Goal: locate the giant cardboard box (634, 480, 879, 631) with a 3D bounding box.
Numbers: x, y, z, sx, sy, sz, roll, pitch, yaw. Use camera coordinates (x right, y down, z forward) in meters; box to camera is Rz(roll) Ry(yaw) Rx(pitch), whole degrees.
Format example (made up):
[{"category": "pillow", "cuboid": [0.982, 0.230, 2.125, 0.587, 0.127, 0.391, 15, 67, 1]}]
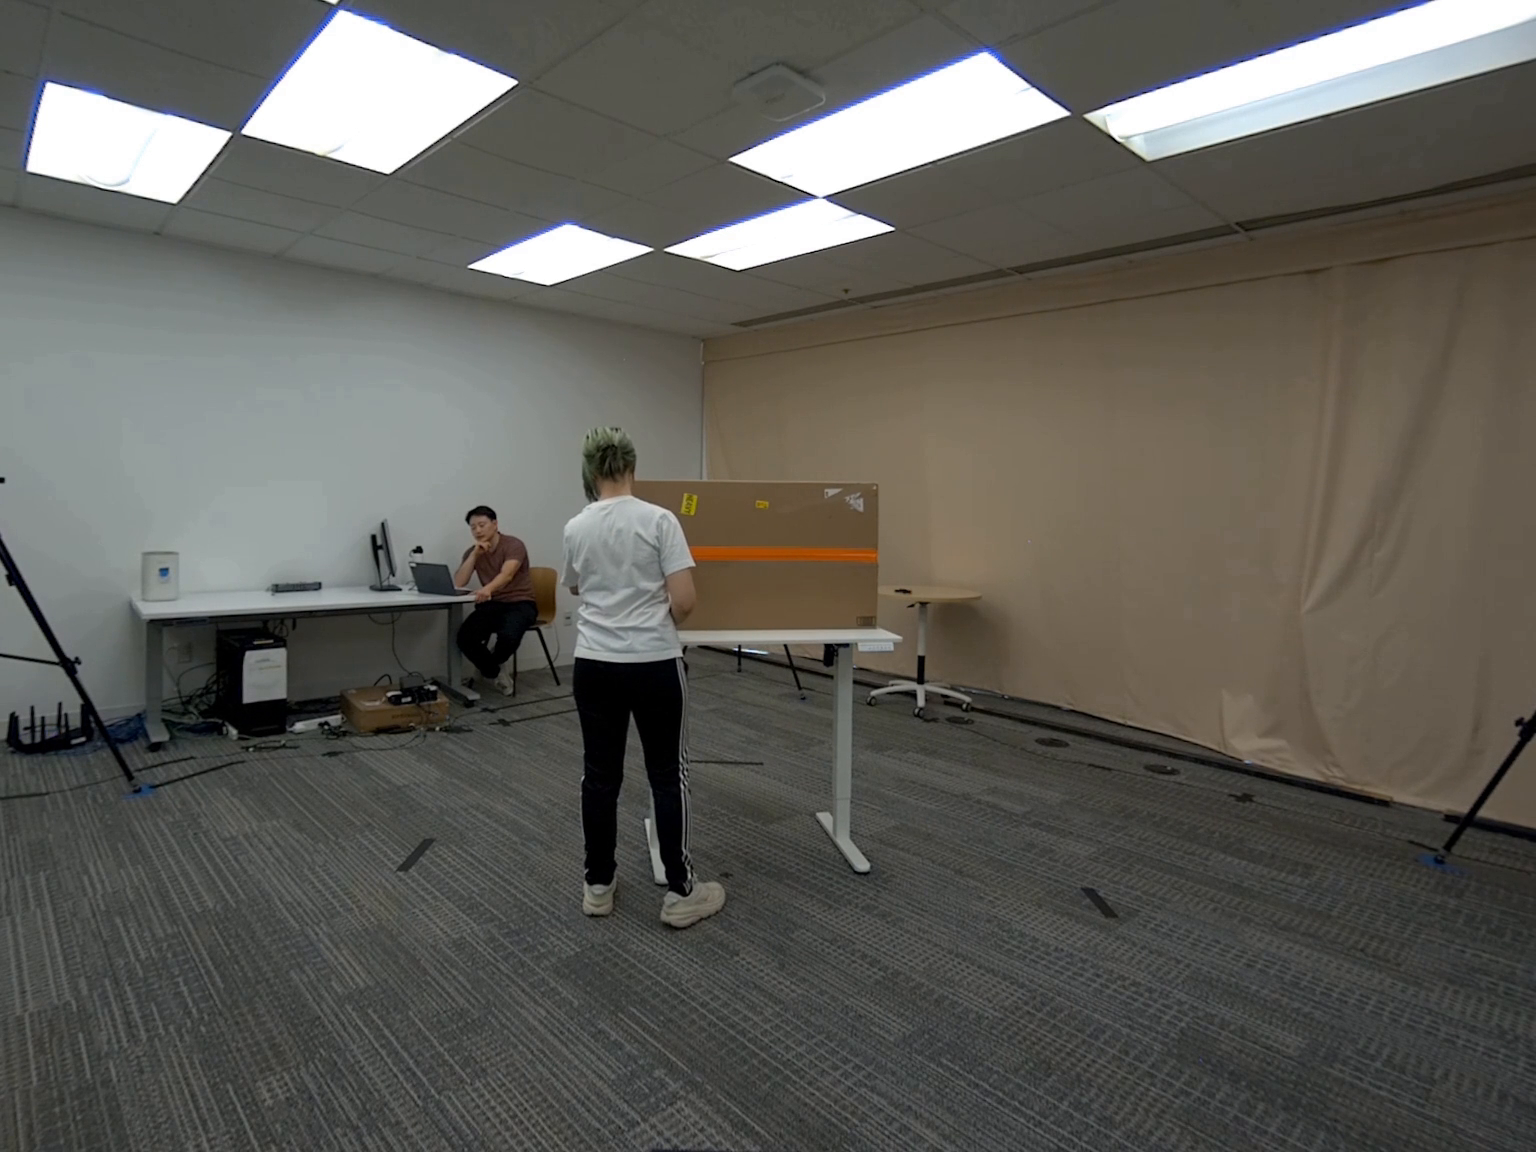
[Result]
[{"category": "giant cardboard box", "cuboid": [-0.112, -0.098, 3.450, 1.019, 0.582, 0.451, -1, 4, -10]}]
